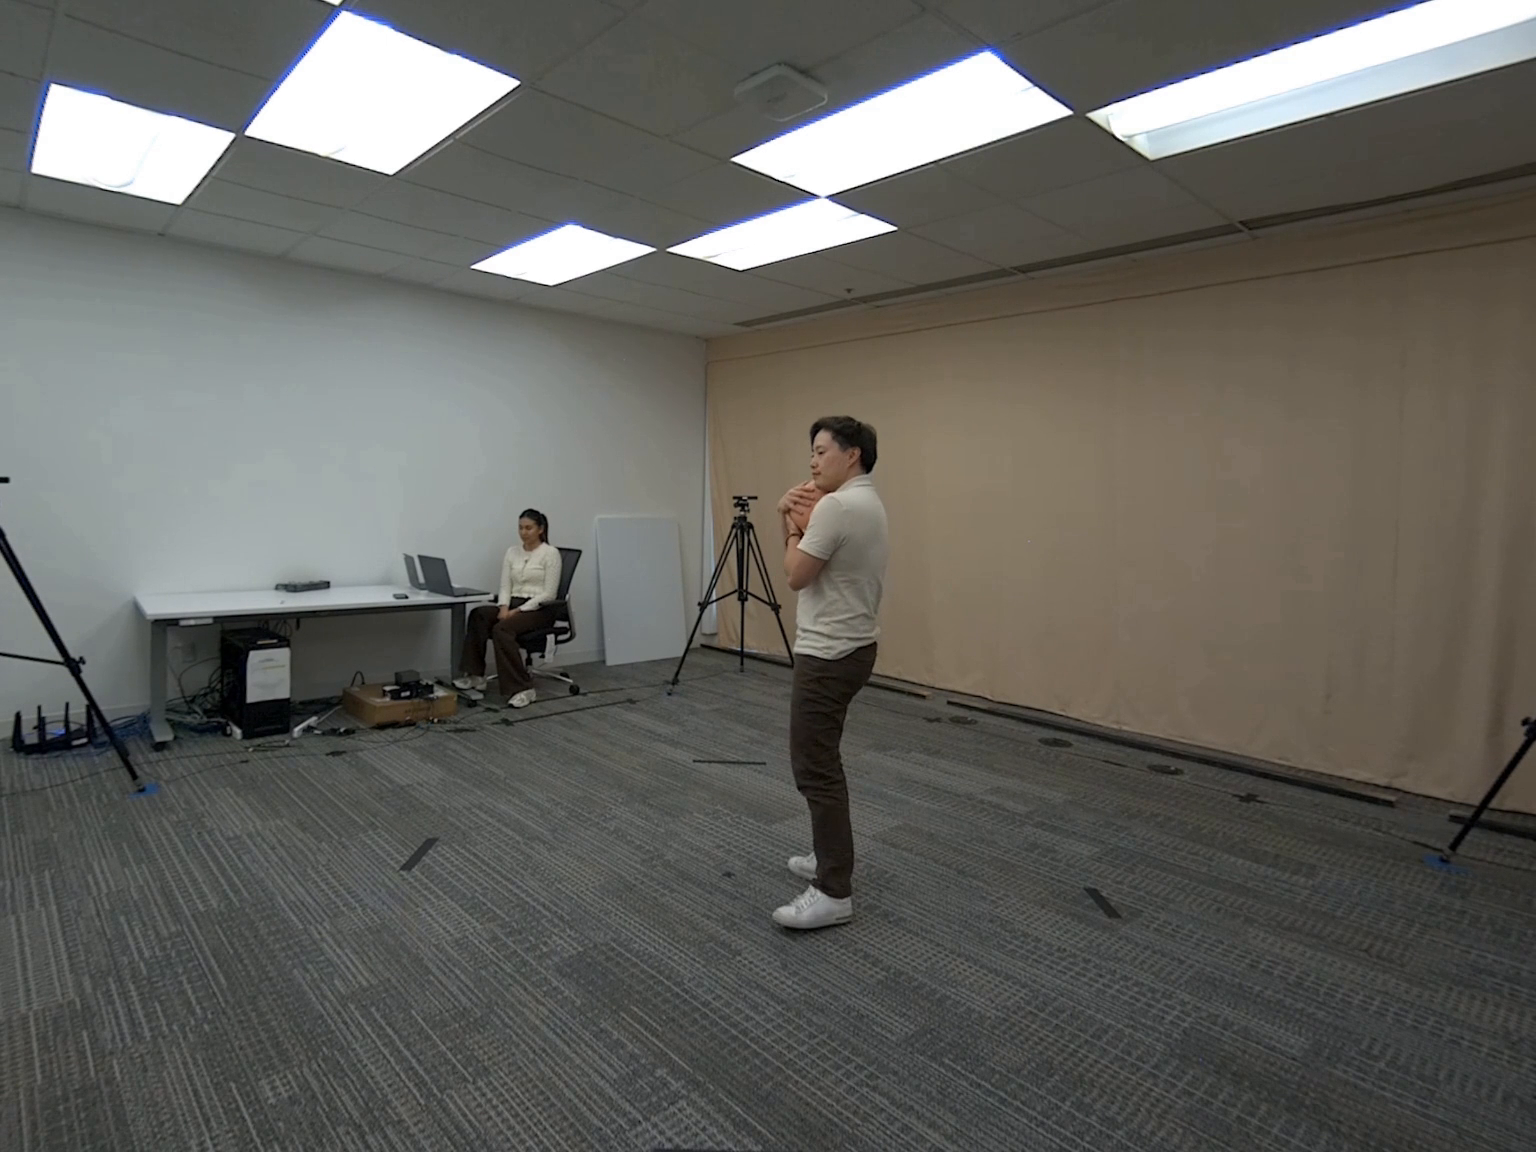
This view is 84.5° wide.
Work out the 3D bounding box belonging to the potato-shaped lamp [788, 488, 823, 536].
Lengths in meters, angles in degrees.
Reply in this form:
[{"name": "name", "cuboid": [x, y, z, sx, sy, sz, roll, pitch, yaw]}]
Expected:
[{"name": "potato-shaped lamp", "cuboid": [0.176, -0.249, 3.002, 0.198, 0.171, 0.164, -36, 2, 10]}]
